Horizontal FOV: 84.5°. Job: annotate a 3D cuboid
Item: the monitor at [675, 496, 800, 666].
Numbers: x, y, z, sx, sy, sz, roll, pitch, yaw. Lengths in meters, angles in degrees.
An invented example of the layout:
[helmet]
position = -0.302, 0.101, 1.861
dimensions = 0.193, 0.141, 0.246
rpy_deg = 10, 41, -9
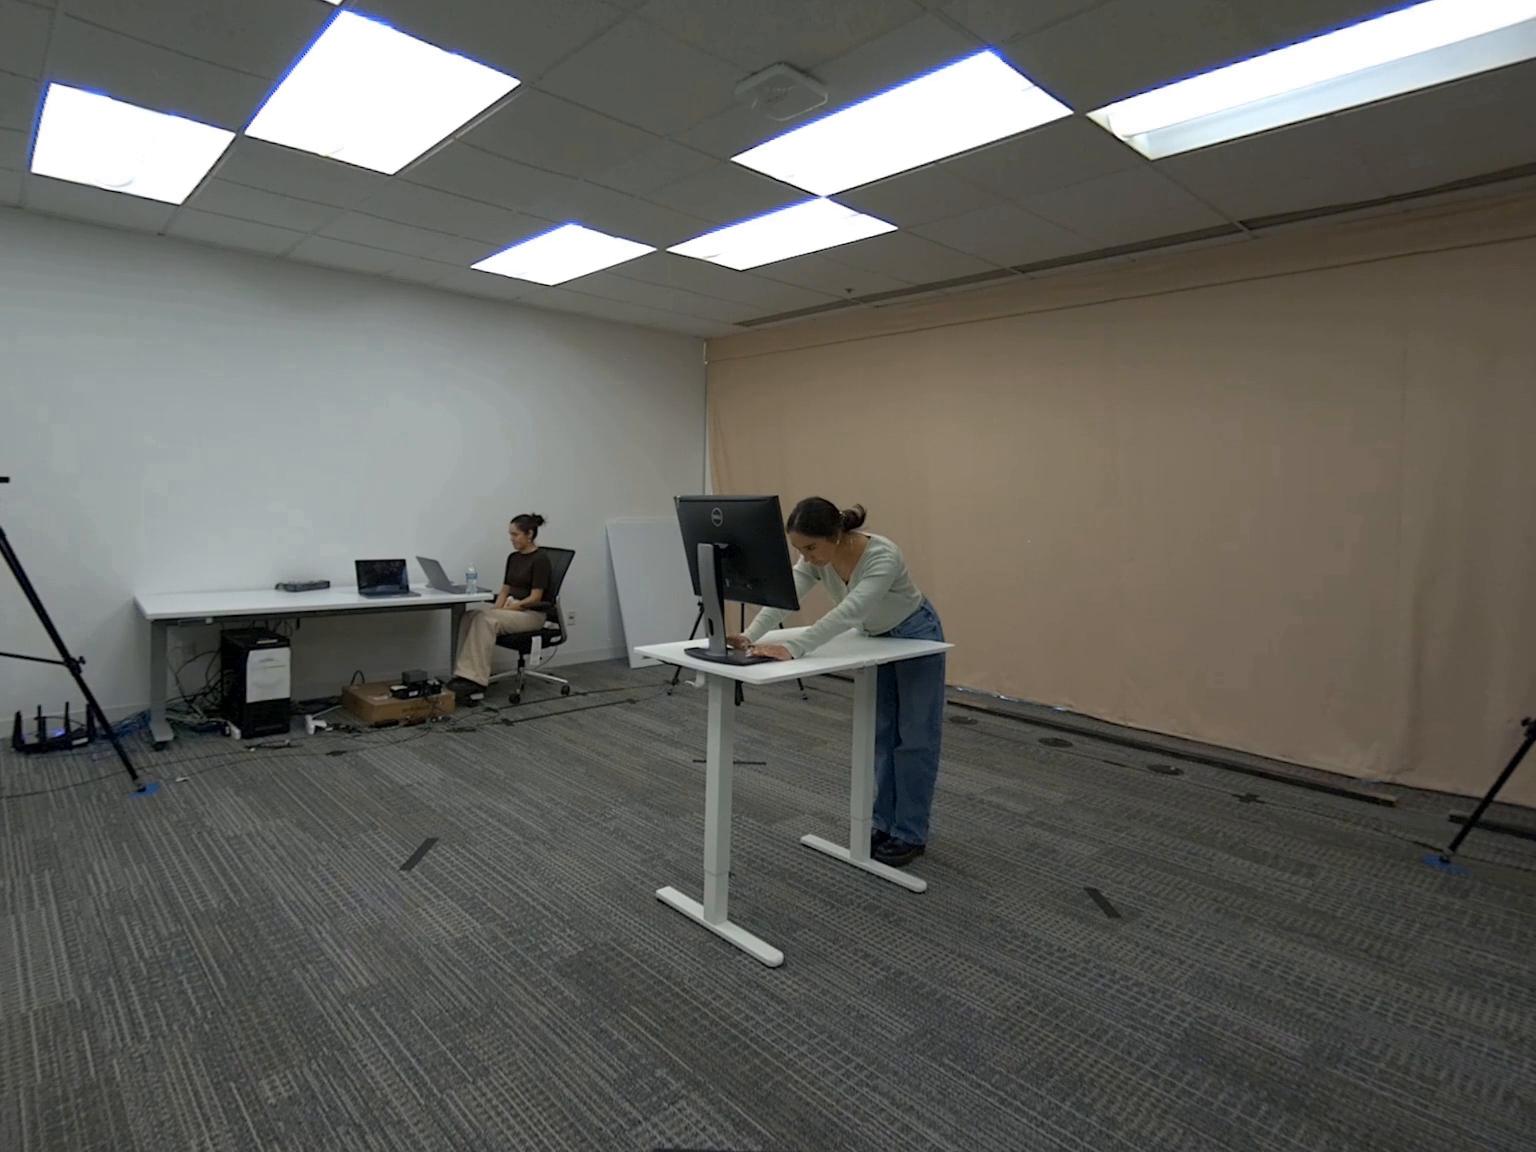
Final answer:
[monitor]
position = -0.135, 0.009, 2.631
dimensions = 0.183, 0.521, 0.552
rpy_deg = -5, 6, -39
